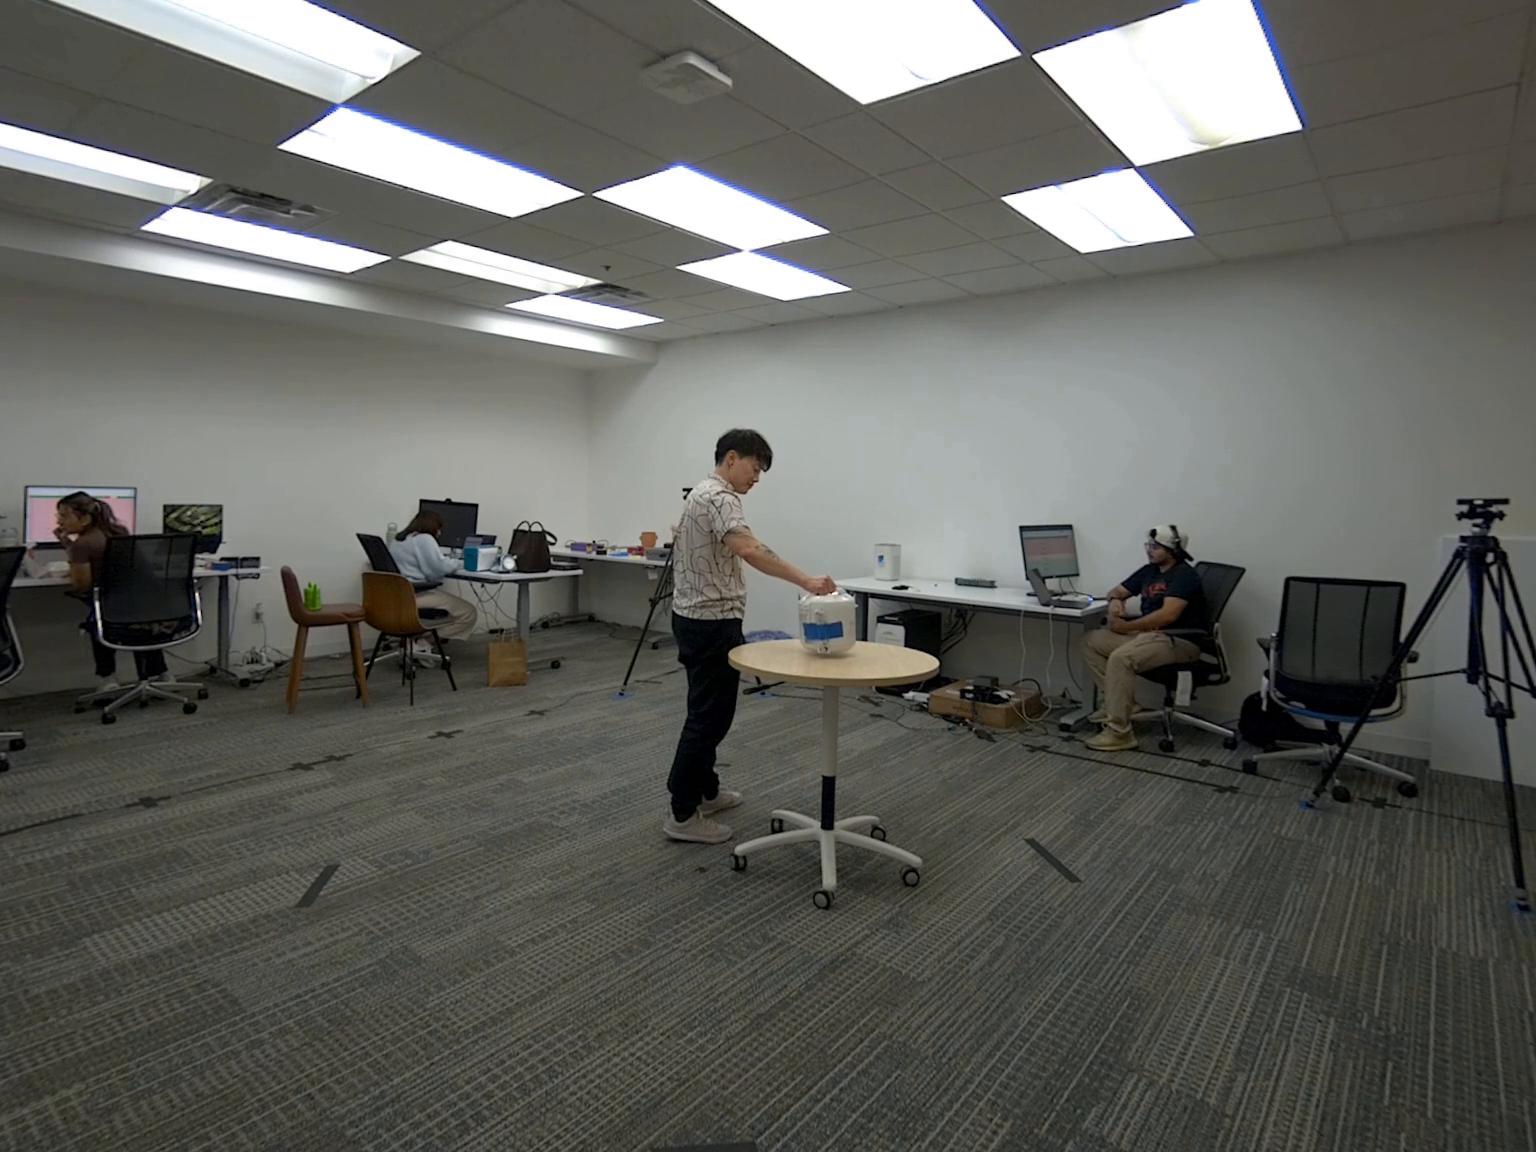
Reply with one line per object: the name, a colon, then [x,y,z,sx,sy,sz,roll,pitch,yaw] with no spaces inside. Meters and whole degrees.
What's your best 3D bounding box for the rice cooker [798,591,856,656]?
rice cooker: [0.211,0.153,3.171,0.215,0.232,0.223,-2,4,-27]
